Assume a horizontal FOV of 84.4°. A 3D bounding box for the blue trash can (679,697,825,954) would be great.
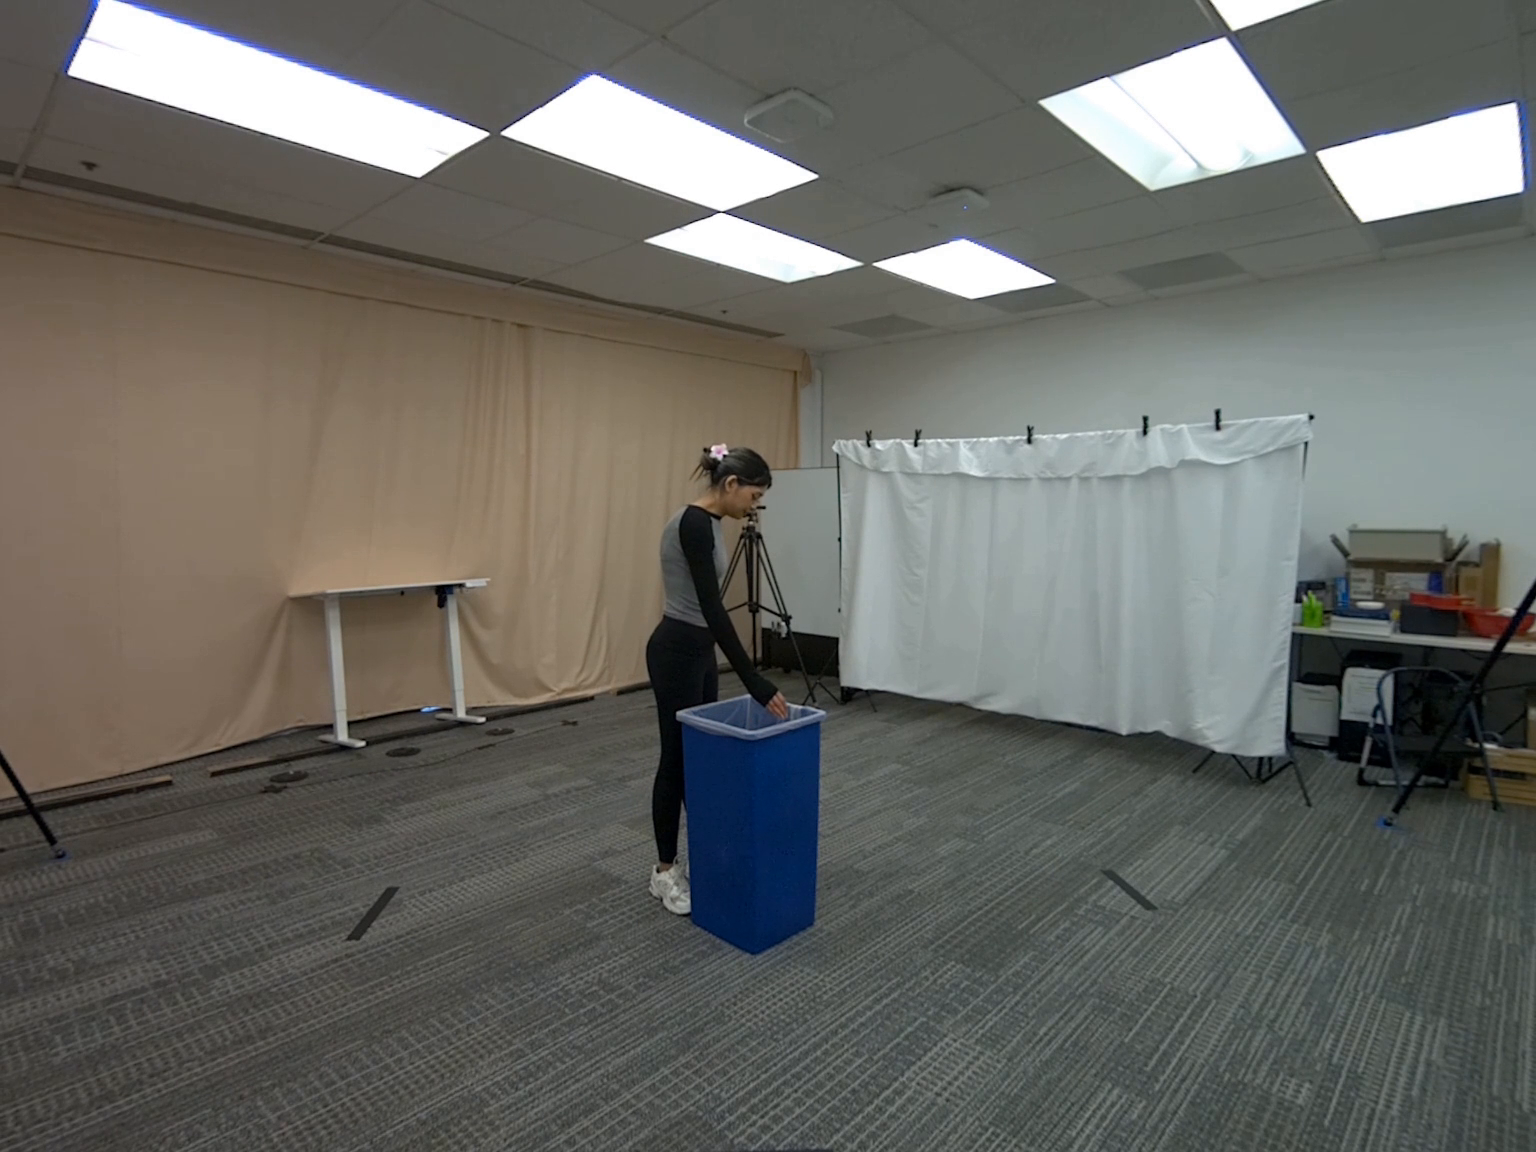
[{"bbox_3d":[-0.050,0.804,2.782,0.391,0.712,0.362,3,4,44],"label":"blue trash can"}]
